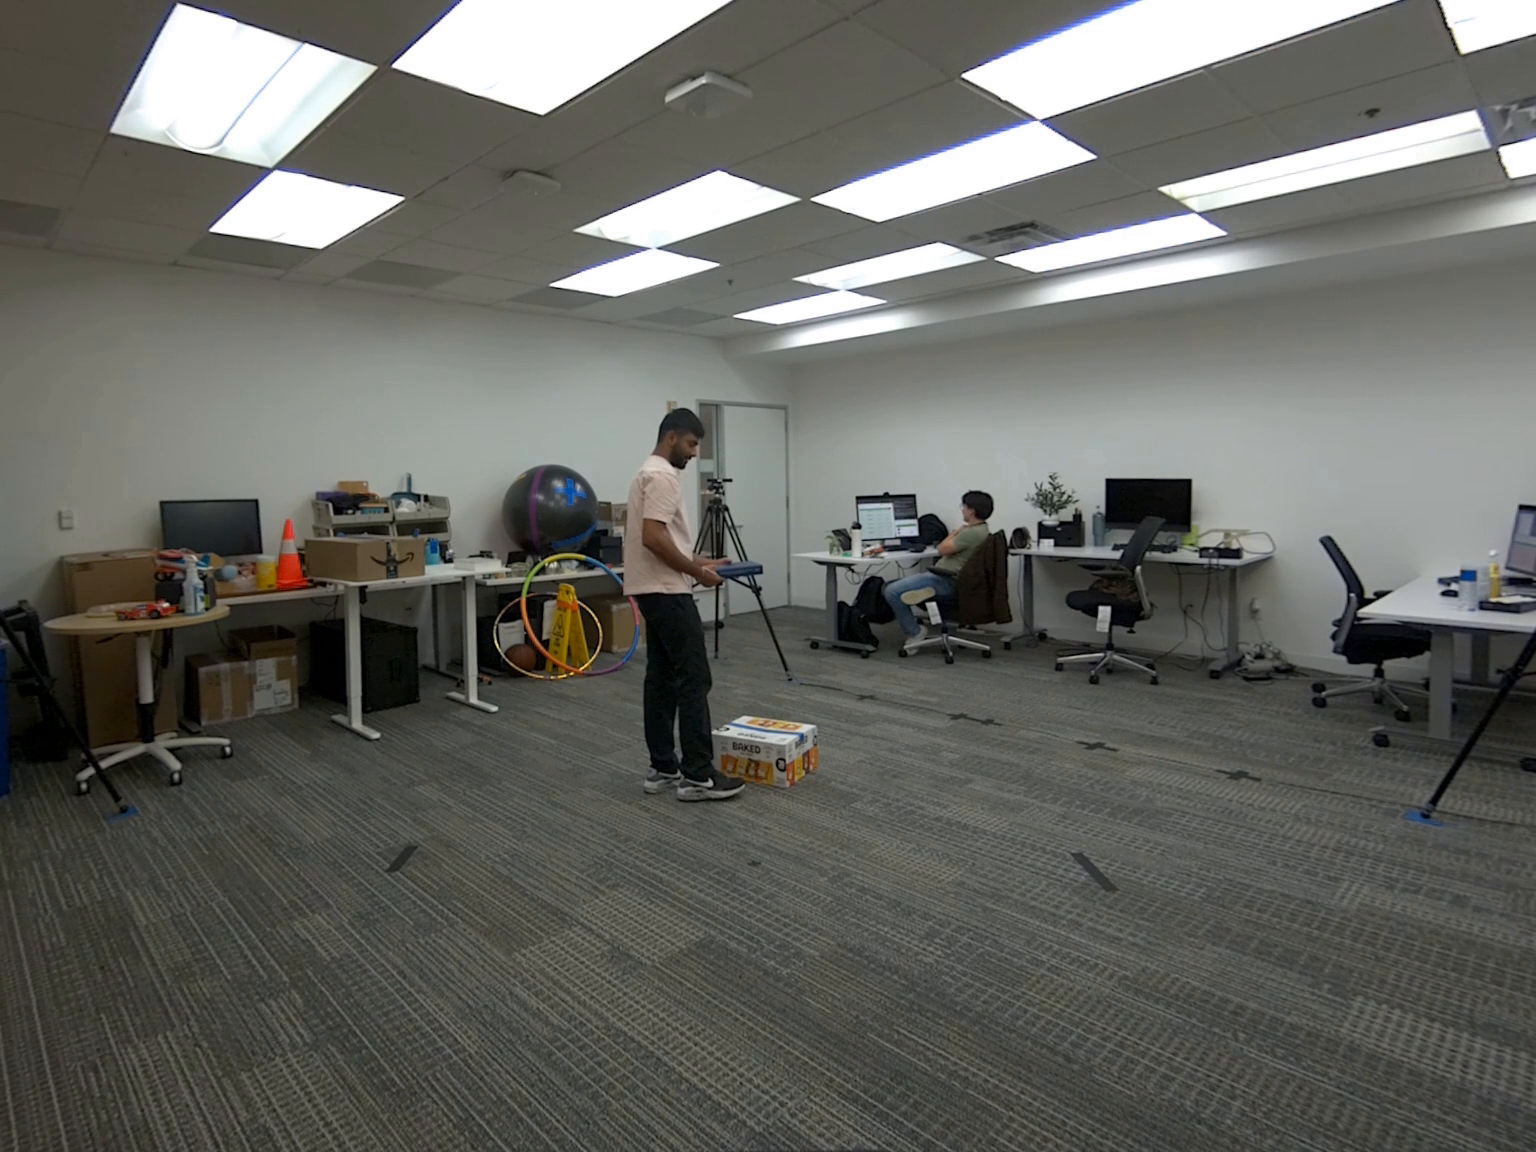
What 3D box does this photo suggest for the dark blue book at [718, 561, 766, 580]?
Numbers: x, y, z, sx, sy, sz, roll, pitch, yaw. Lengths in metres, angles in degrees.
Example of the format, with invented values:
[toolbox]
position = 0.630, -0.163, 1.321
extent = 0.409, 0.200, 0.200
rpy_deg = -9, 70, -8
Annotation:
[dark blue book]
position = -0.155, -0.026, 3.849
extent = 0.242, 0.045, 0.166
rpy_deg = -6, 7, -16
